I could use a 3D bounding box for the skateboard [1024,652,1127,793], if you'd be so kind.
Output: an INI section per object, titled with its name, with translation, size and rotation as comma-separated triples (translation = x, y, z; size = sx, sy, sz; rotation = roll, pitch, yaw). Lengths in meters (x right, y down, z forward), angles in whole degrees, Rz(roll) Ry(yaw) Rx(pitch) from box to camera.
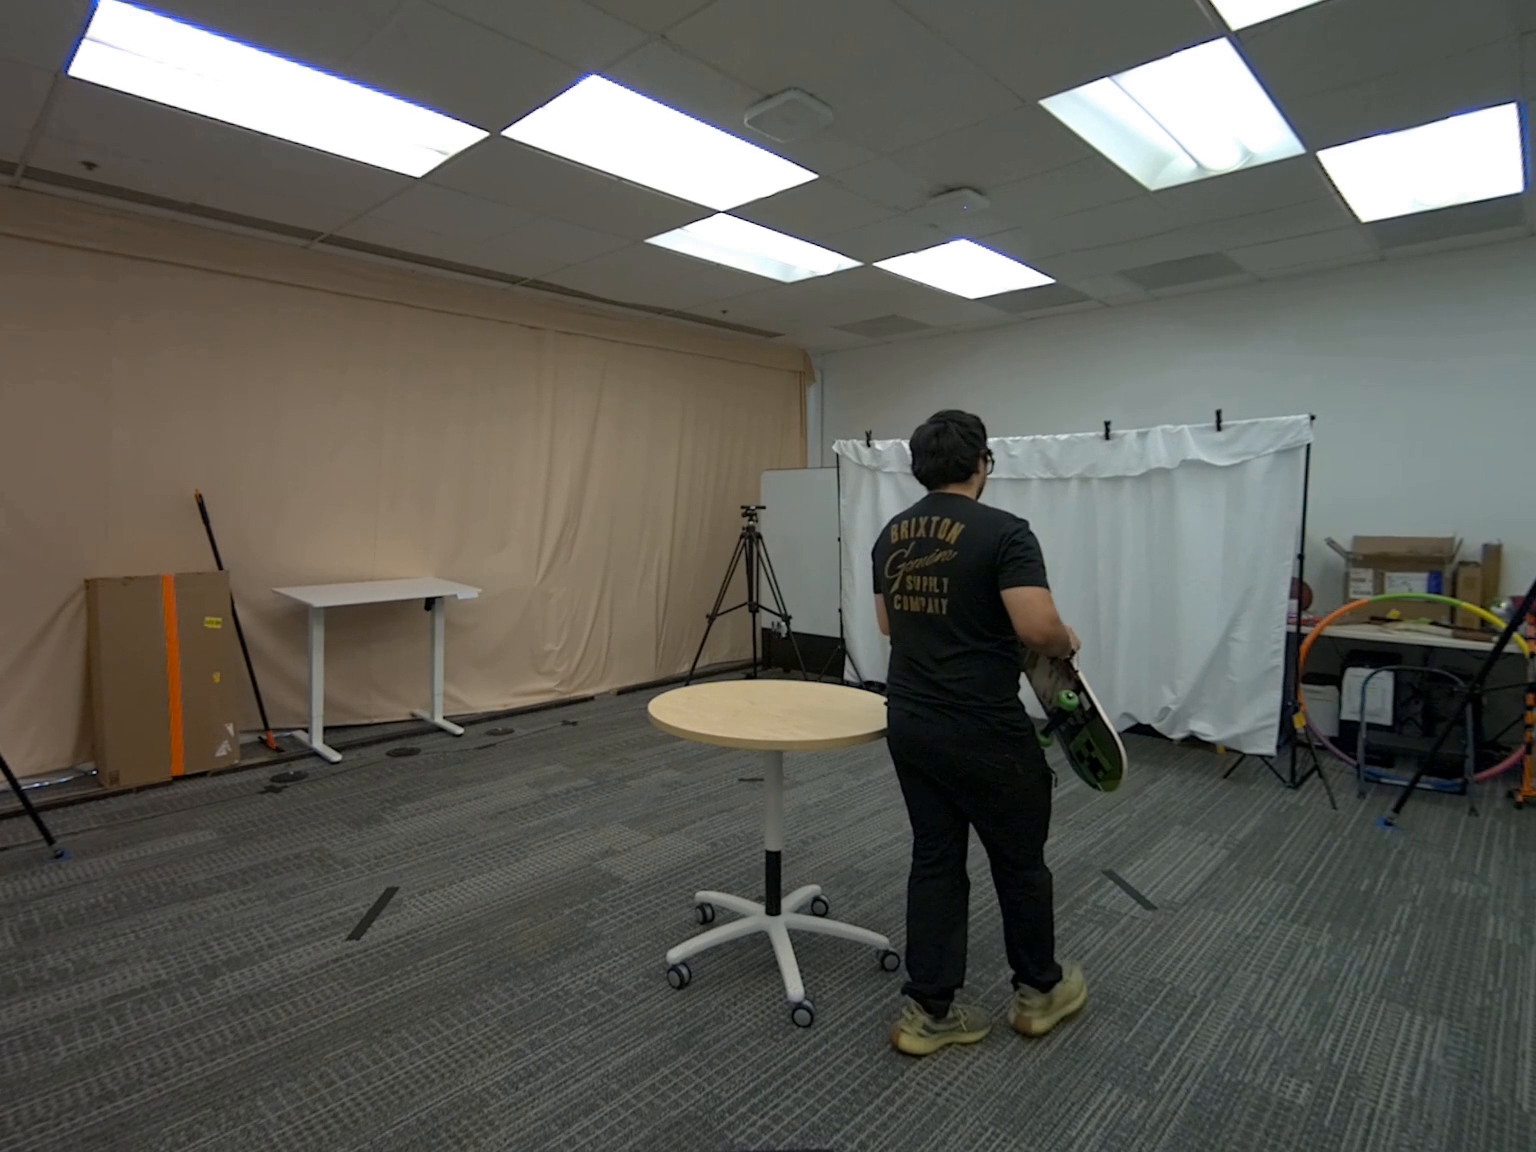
[skateboard]
translation = 0.729, 0.228, 2.264
size = 0.109, 0.190, 0.805
rotation = -2, 44, -10
